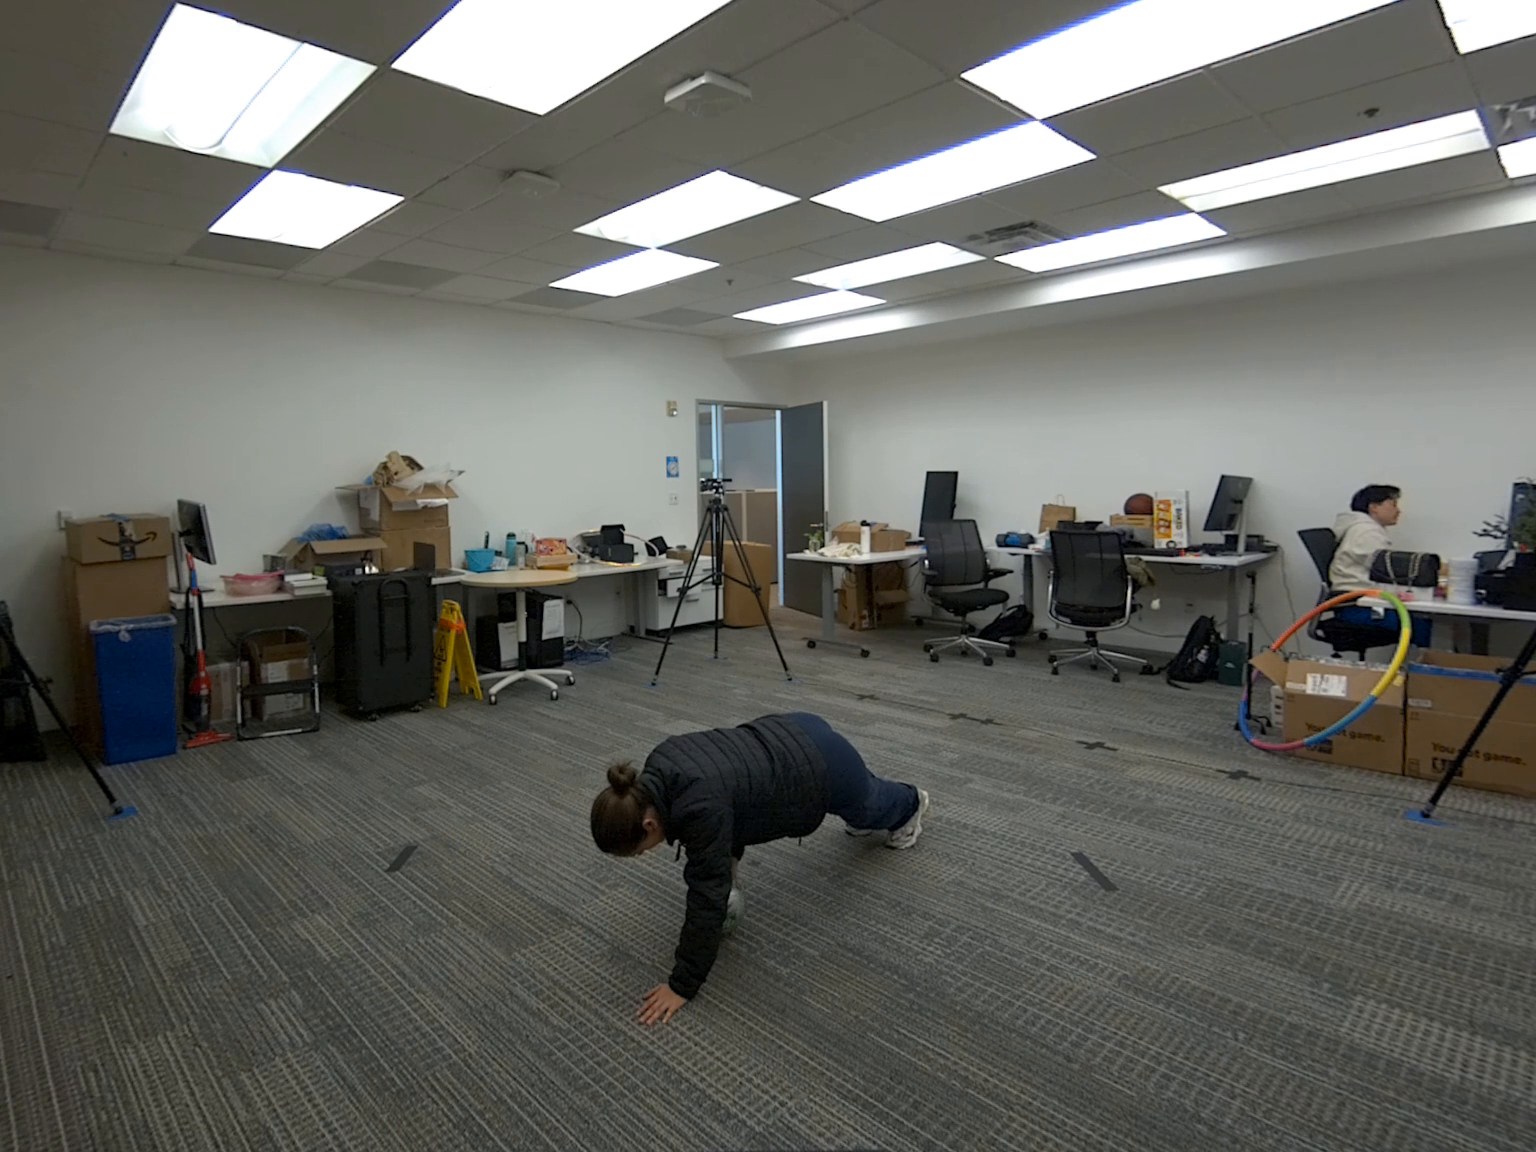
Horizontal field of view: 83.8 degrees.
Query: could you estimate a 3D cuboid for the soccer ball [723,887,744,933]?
[{"bbox_3d":[-0.151,1.013,2.628,0.187,0.187,0.188,-1,5,-2],"label":"soccer ball"}]
